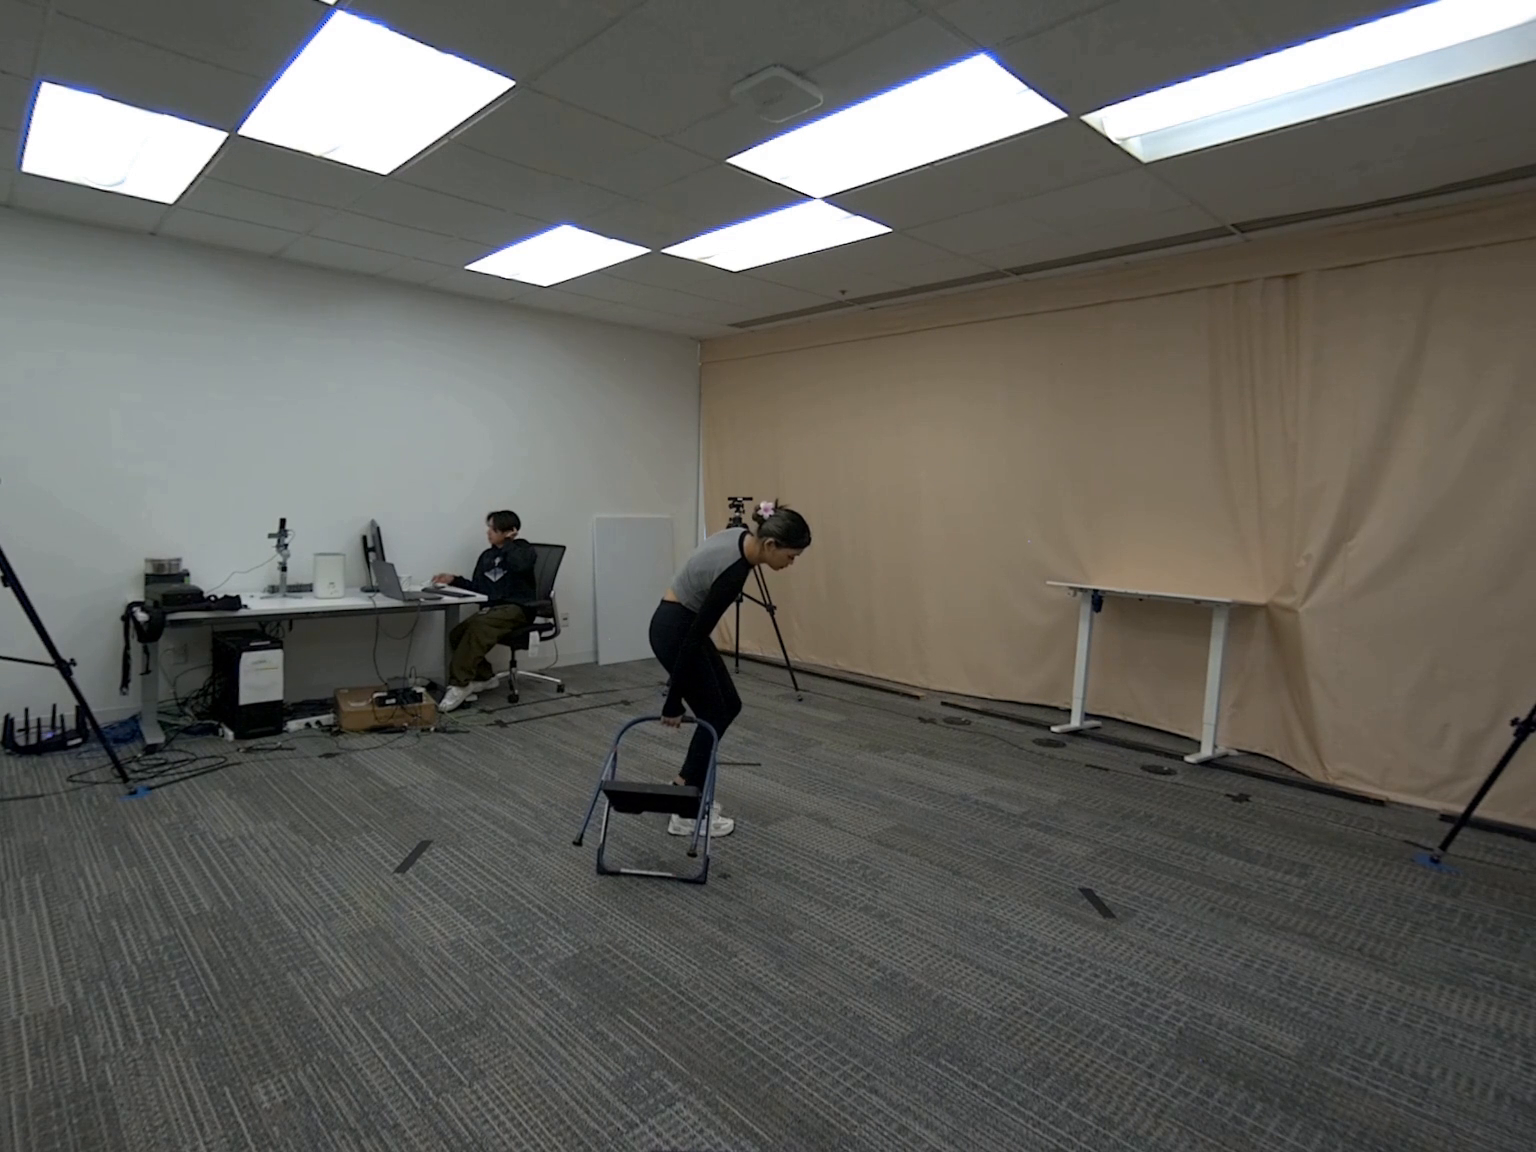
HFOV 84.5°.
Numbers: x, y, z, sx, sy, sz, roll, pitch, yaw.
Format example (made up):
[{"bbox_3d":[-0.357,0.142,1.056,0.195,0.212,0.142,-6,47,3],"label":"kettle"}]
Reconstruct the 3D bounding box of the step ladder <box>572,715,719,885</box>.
[{"bbox_3d":[-0.421,0.773,3.114,0.433,0.617,0.341,2,-37,7],"label":"step ladder"}]
